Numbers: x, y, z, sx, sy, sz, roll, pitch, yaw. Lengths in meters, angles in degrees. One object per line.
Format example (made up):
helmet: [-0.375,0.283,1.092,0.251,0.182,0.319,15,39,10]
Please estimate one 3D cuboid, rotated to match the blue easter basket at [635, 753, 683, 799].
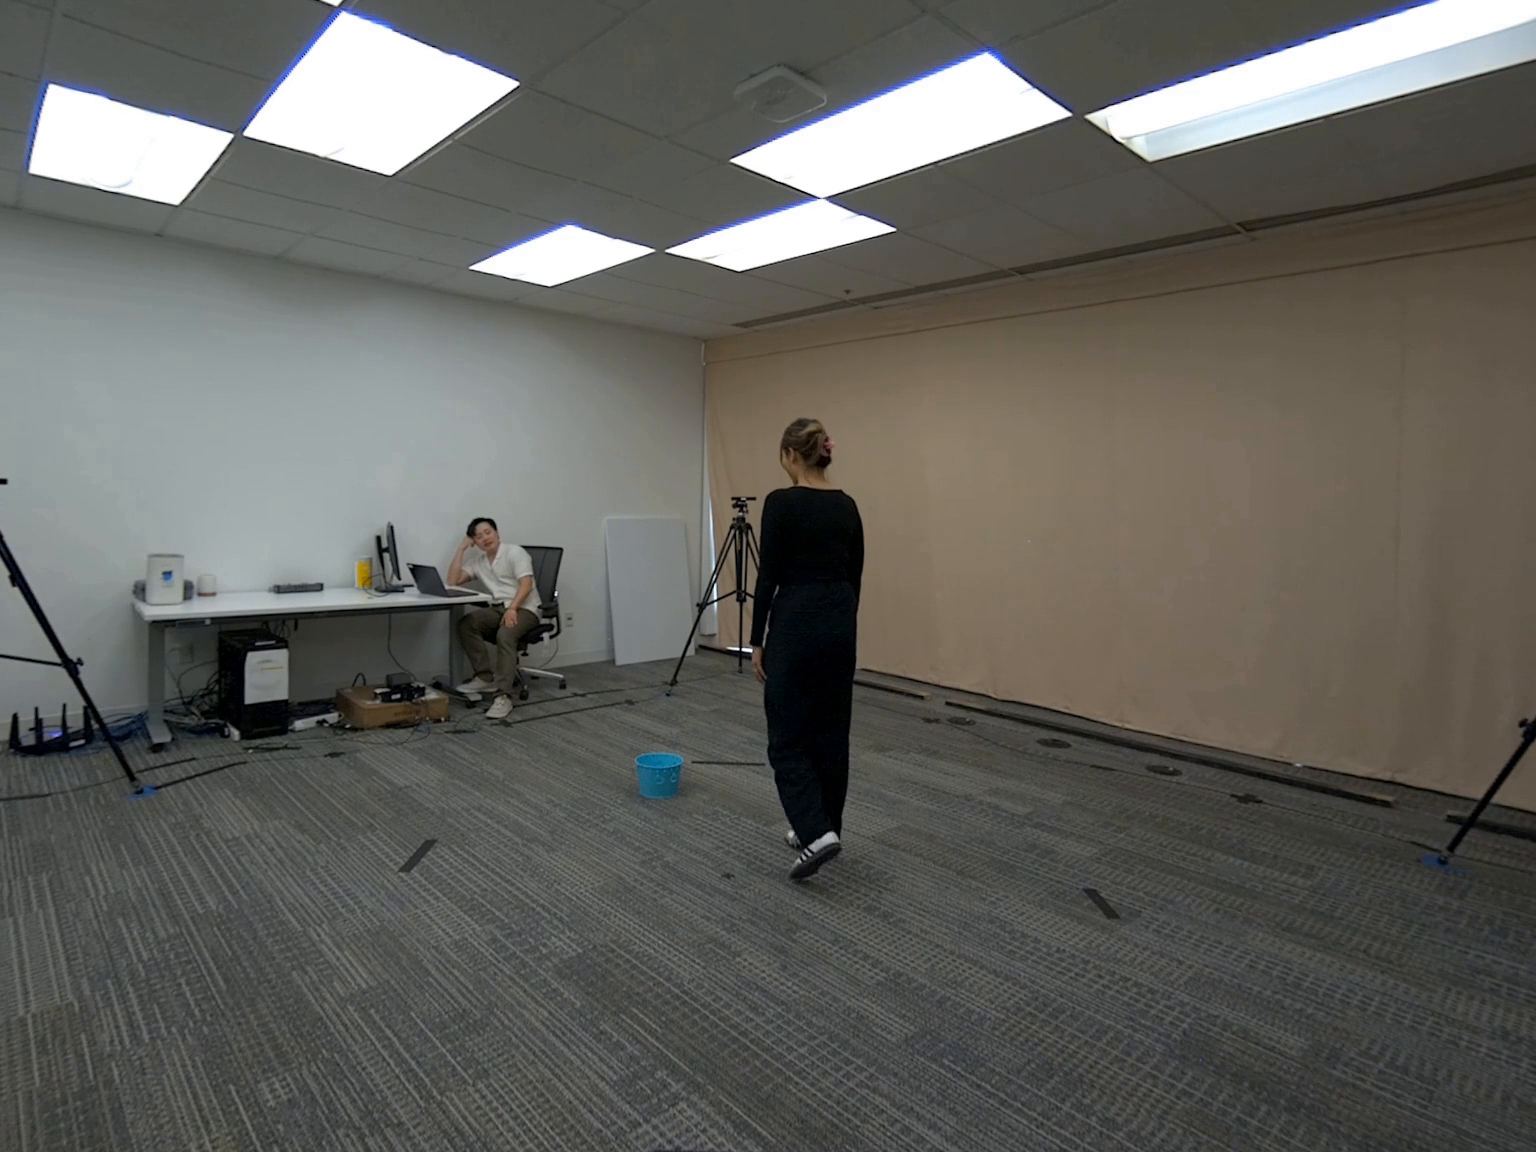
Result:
blue easter basket: [-0.525,0.944,3.994,0.243,0.155,0.244,1,5,-1]
